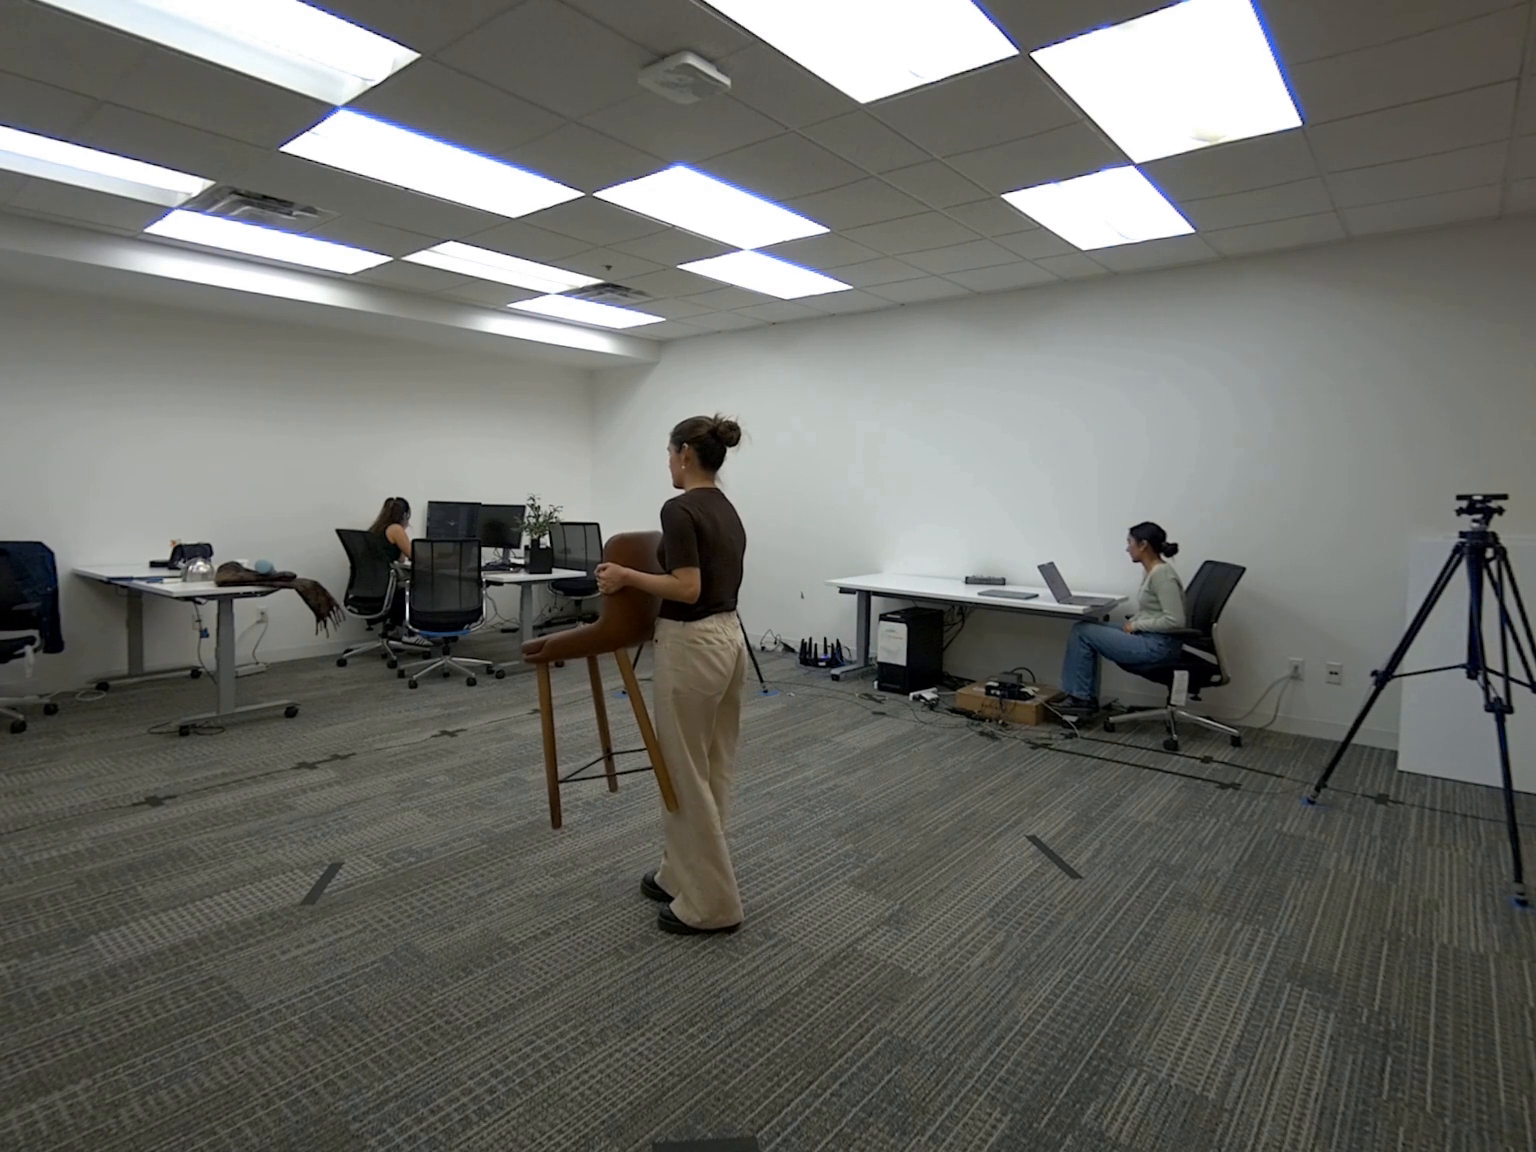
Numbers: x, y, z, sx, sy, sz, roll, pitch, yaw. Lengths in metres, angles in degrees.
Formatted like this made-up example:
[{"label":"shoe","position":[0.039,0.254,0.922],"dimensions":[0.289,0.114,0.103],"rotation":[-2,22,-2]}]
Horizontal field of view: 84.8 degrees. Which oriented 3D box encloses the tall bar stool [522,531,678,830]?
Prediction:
[{"label":"tall bar stool","position":[-0.541,0.333,2.877],"dimensions":[0.476,0.892,0.447],"rotation":[-12,-2,22]}]
